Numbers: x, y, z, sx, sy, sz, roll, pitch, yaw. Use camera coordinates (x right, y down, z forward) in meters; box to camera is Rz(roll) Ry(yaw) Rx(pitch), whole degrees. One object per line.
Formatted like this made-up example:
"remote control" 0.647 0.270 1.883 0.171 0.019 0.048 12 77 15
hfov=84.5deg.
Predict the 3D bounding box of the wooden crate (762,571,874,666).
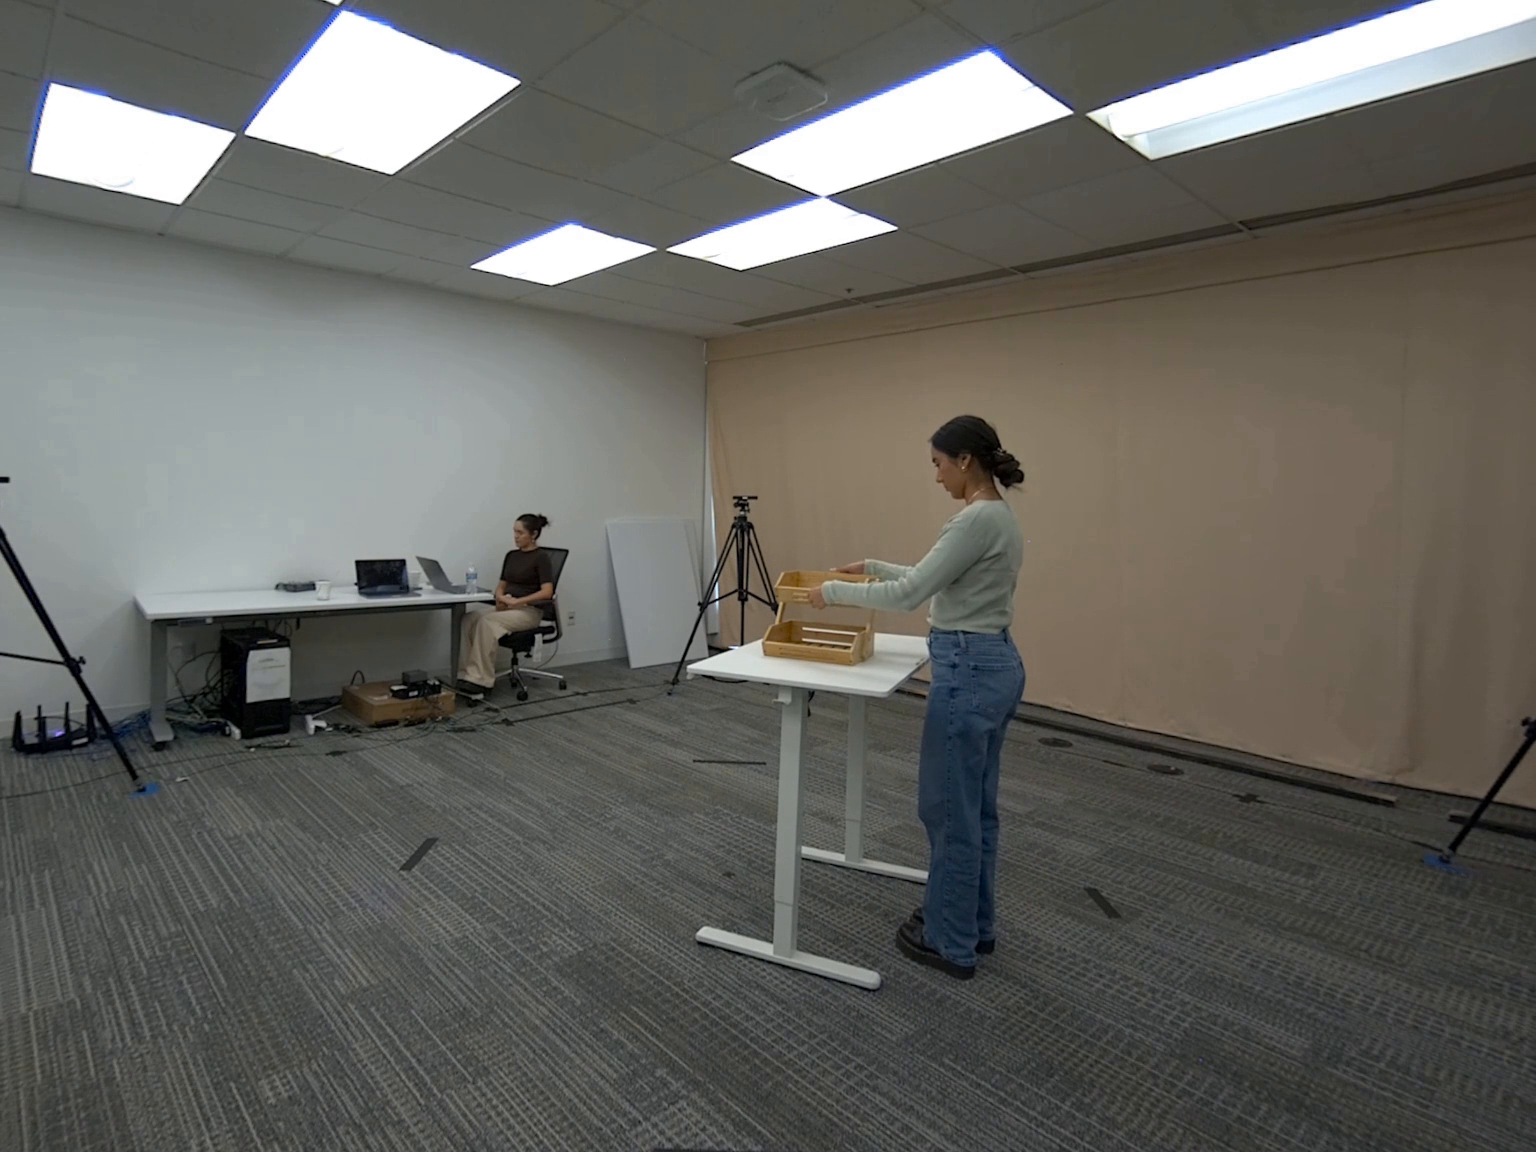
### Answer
"wooden crate" 0.165 0.126 2.754 0.330 0.273 0.297 3 4 23
